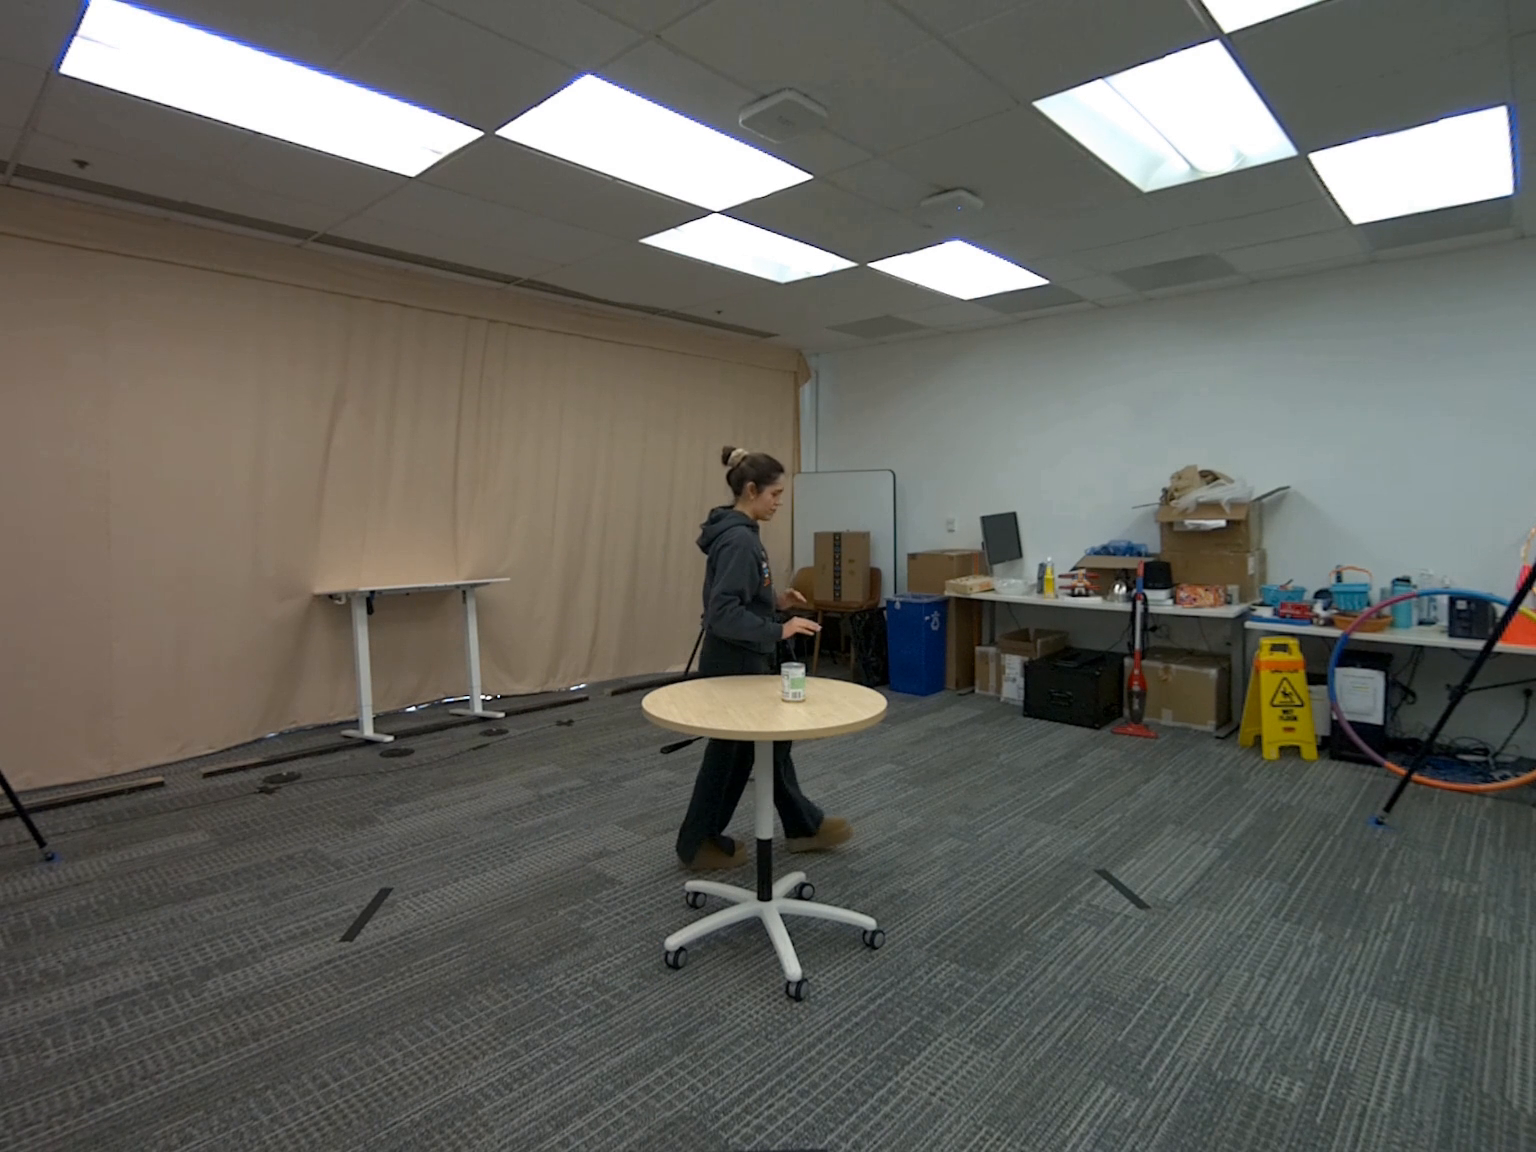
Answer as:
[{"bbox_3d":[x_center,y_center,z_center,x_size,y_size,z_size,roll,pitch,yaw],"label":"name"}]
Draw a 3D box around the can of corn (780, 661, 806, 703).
[{"bbox_3d":[0.093,0.330,2.623,0.074,0.111,0.074,-1,5,-2],"label":"can of corn"}]
